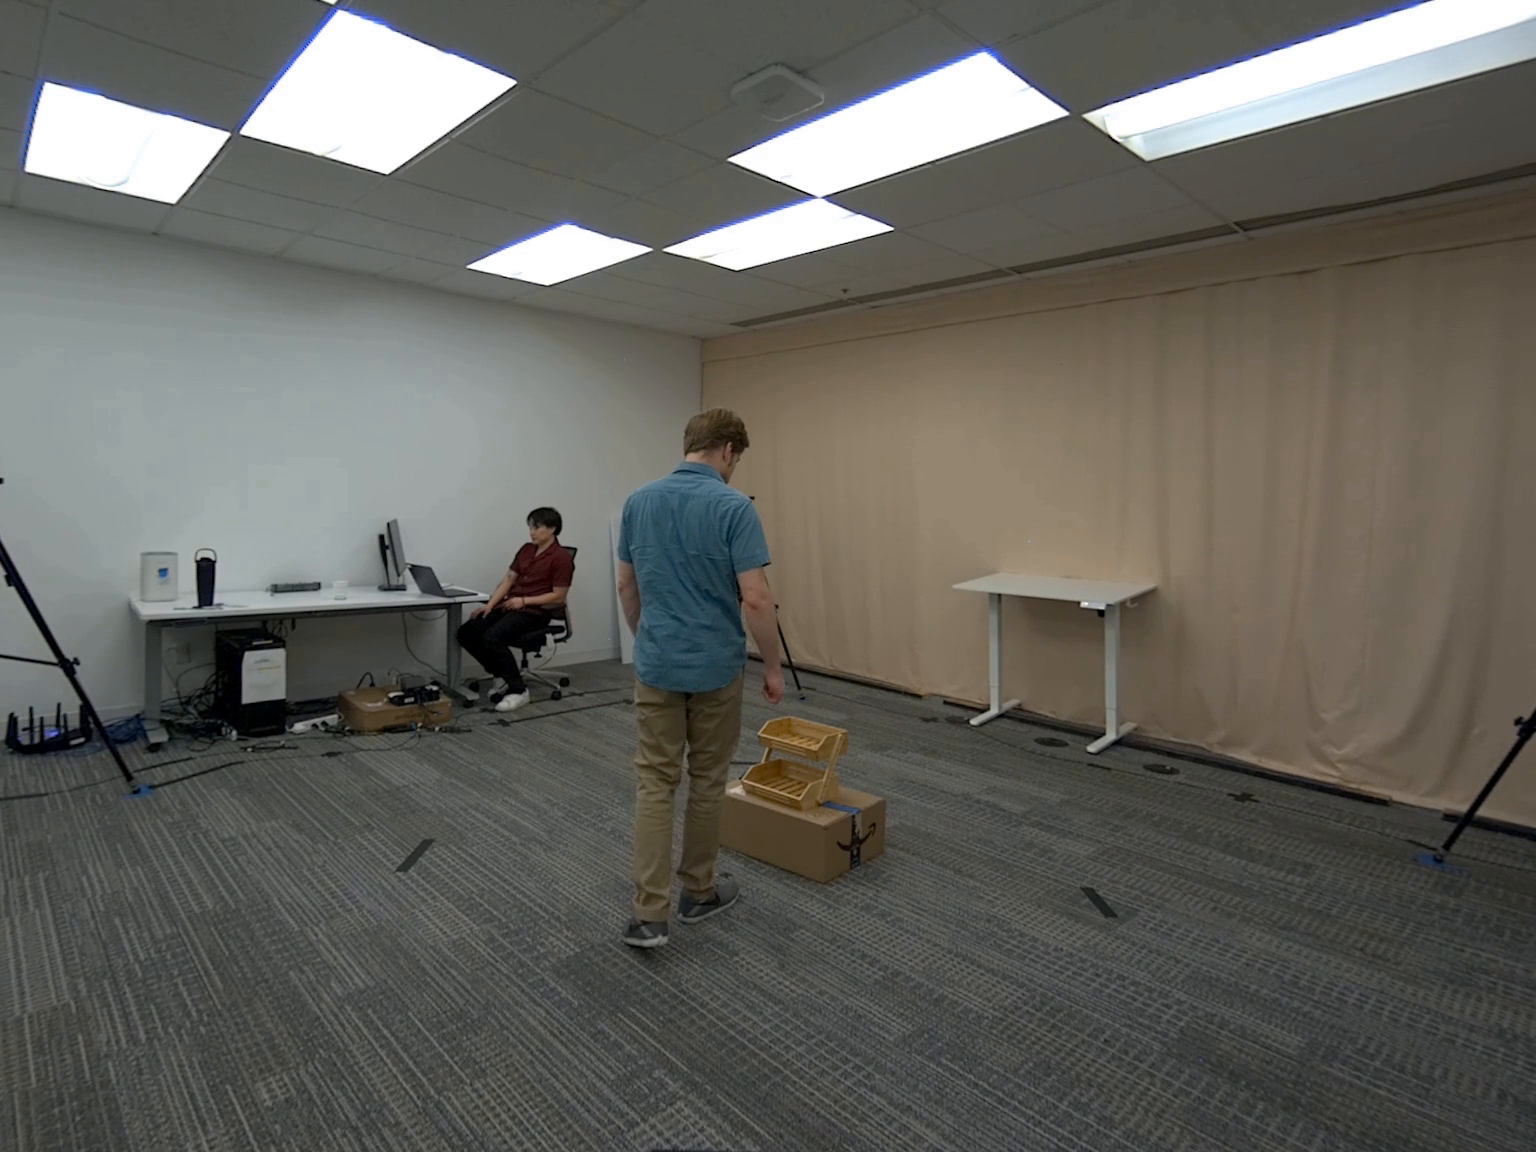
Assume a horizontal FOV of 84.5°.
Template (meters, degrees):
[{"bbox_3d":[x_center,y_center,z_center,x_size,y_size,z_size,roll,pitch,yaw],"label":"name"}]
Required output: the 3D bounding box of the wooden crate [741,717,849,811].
[{"bbox_3d":[0.098,0.740,3.383,0.333,0.273,0.295,6,4,41],"label":"wooden crate"}]
